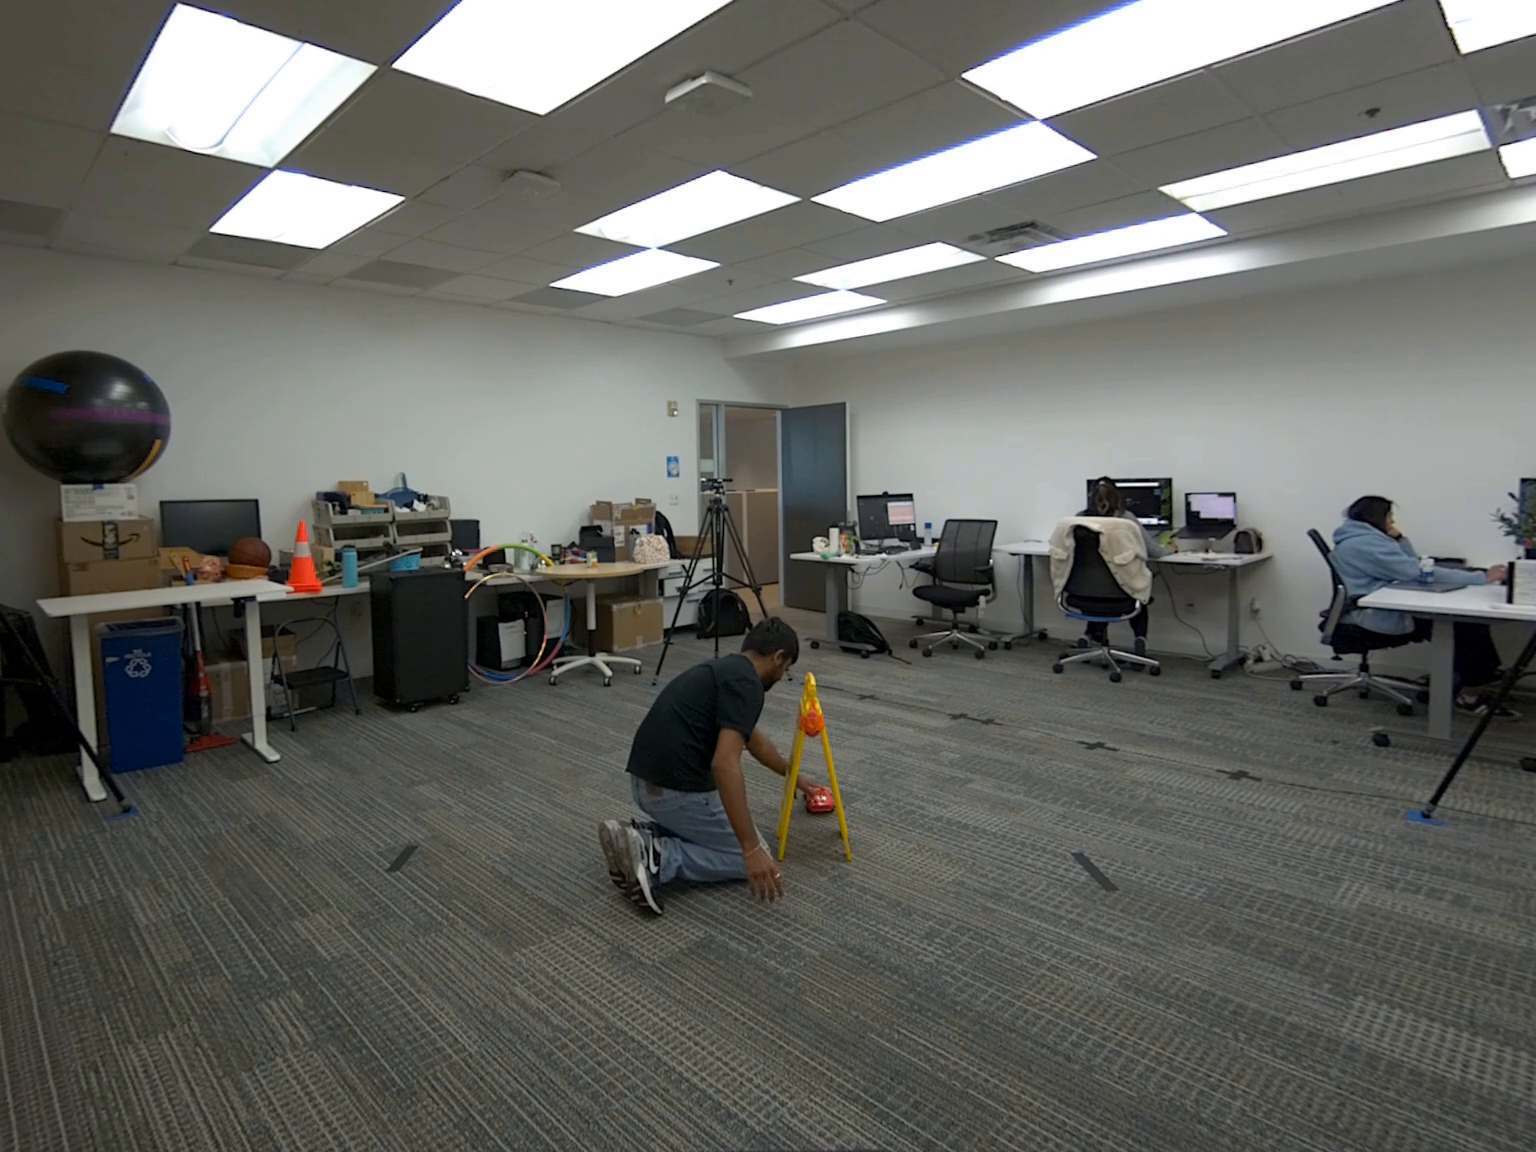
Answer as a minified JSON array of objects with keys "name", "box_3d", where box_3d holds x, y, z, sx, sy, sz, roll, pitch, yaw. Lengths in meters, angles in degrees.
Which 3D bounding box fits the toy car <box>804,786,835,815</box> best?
[{"name":"toy car","box_3d":[0.221,0.950,3.625,0.130,0.084,0.253,-1,-4,-1]}]
